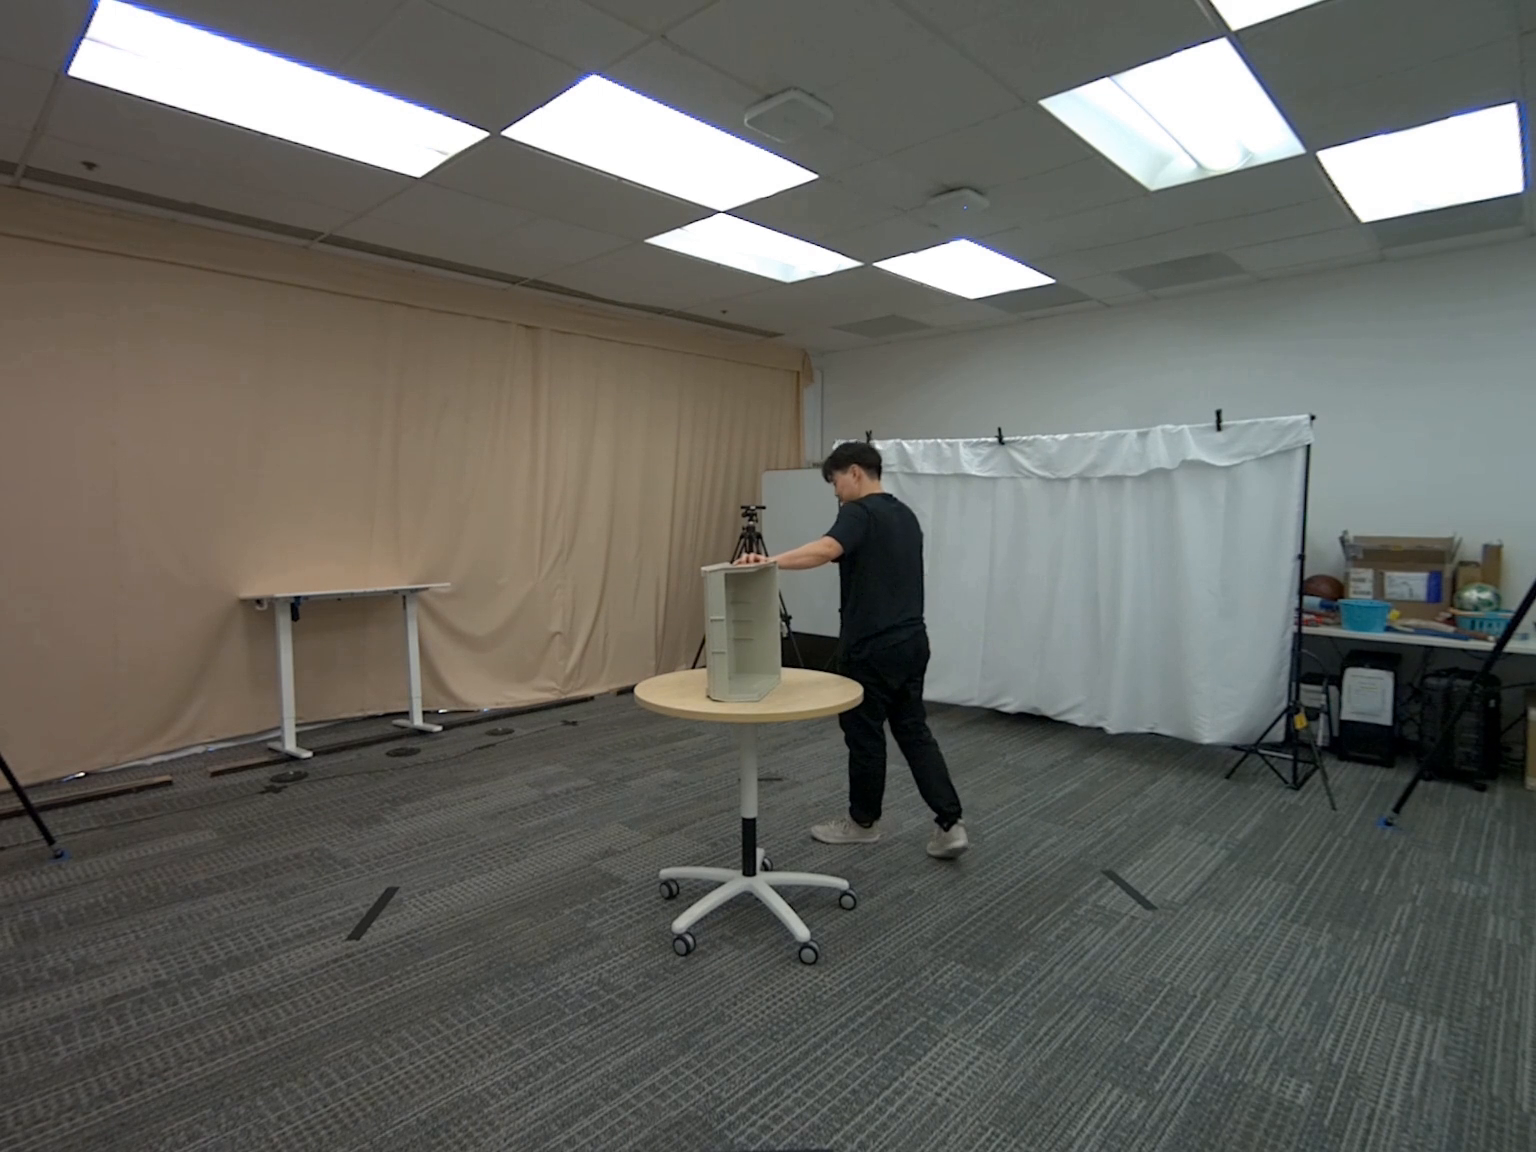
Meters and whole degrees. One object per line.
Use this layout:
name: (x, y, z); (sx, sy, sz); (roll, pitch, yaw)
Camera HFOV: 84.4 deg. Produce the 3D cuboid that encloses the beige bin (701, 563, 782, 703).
beige bin: (-0.085, 0.170, 2.776); (0.192, 0.422, 0.372); (-2, 2, 13)
